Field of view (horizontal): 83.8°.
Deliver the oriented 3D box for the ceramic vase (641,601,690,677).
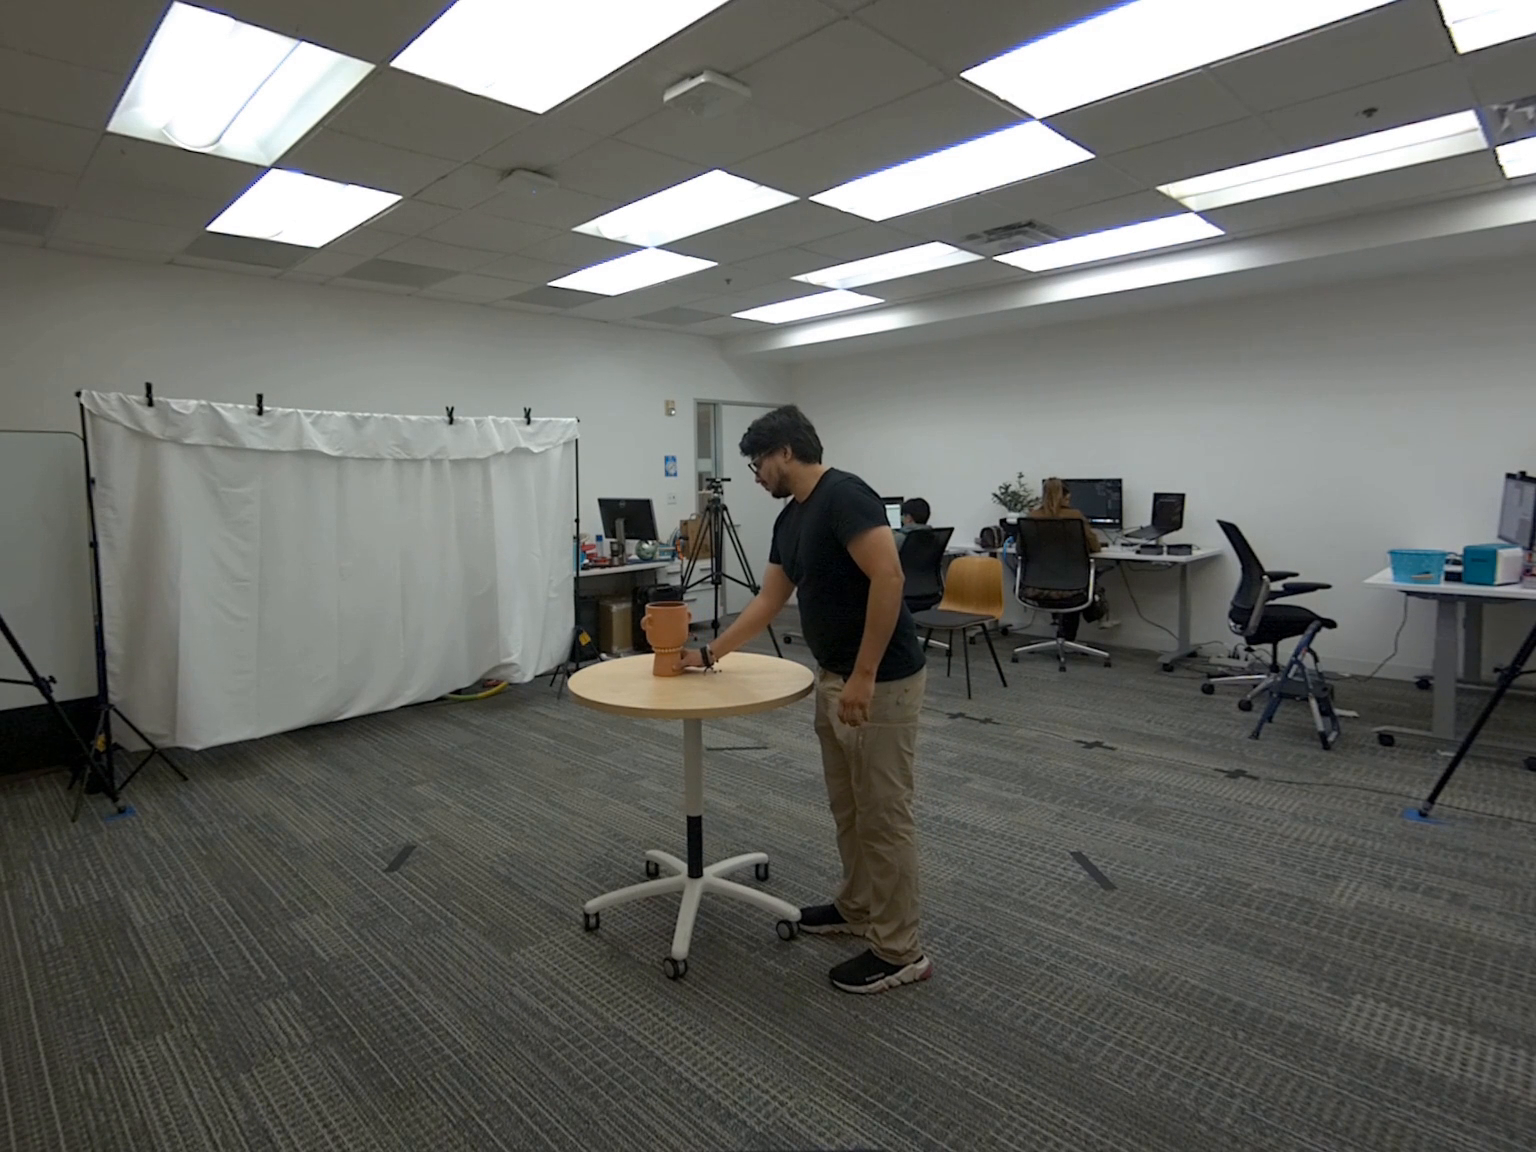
[{"bbox_3d":[-0.307,0.200,2.703,0.158,0.218,0.136,-2,7,-5],"label":"ceramic vase"}]
